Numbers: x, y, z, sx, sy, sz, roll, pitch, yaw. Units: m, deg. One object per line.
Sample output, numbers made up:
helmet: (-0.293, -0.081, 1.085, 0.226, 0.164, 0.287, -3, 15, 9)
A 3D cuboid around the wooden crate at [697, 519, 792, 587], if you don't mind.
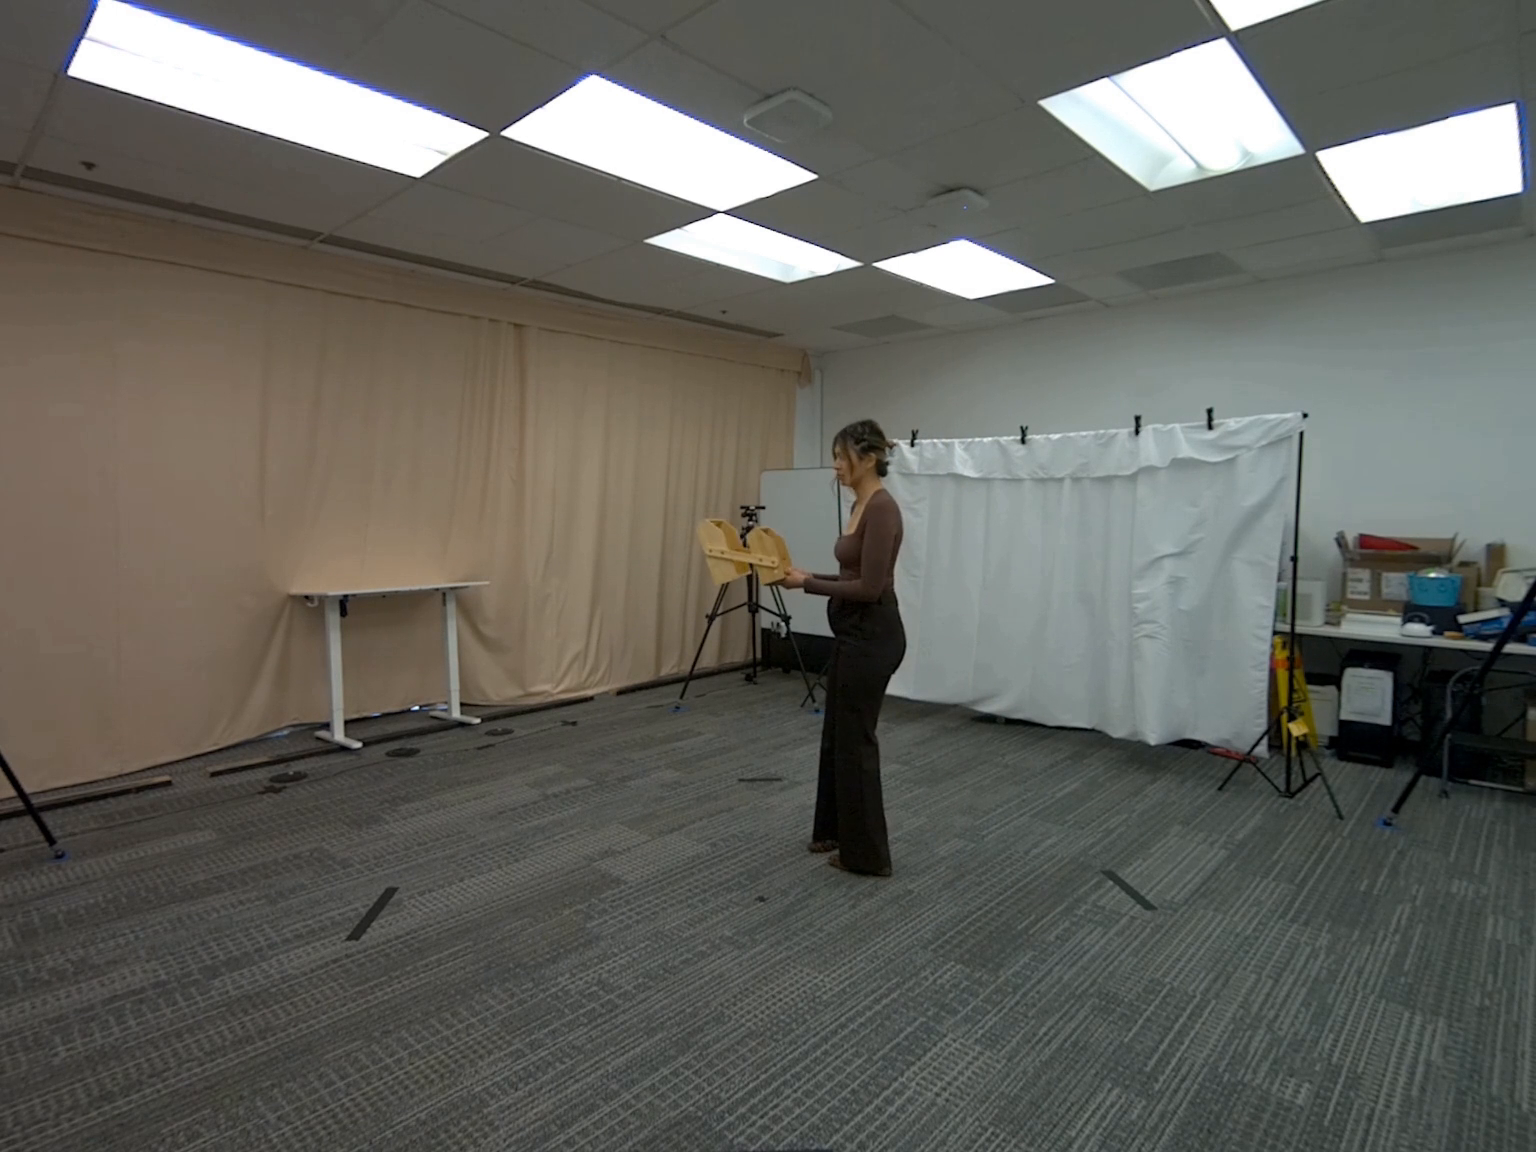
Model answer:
wooden crate: (-0.073, -0.103, 3.268, 0.276, 0.302, 0.321, -18, -1, 11)
